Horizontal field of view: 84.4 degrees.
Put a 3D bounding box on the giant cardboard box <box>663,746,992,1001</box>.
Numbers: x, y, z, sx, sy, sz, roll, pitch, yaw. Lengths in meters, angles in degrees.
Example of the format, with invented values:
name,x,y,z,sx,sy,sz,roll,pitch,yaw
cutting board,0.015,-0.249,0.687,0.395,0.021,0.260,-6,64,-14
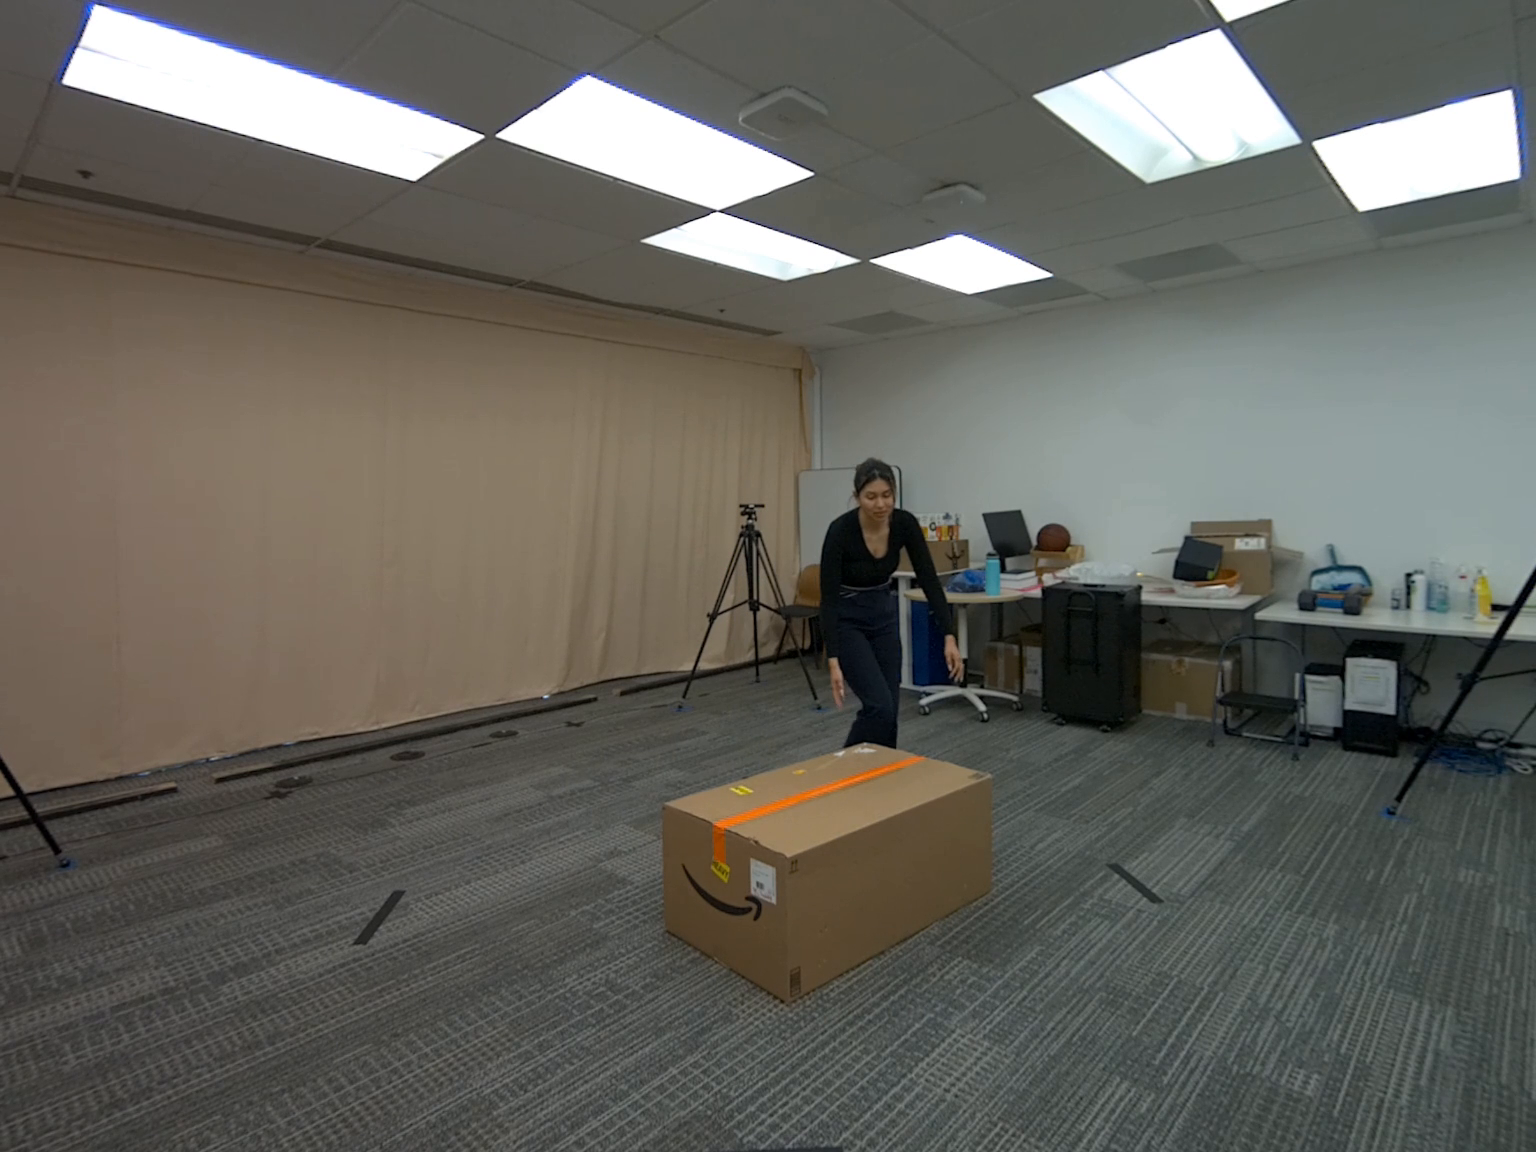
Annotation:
name,x,y,z,sx,sy,sz,roll,pitch,yaw
giant cardboard box,0.223,0.933,2.864,0.995,0.425,0.596,-5,5,-41
